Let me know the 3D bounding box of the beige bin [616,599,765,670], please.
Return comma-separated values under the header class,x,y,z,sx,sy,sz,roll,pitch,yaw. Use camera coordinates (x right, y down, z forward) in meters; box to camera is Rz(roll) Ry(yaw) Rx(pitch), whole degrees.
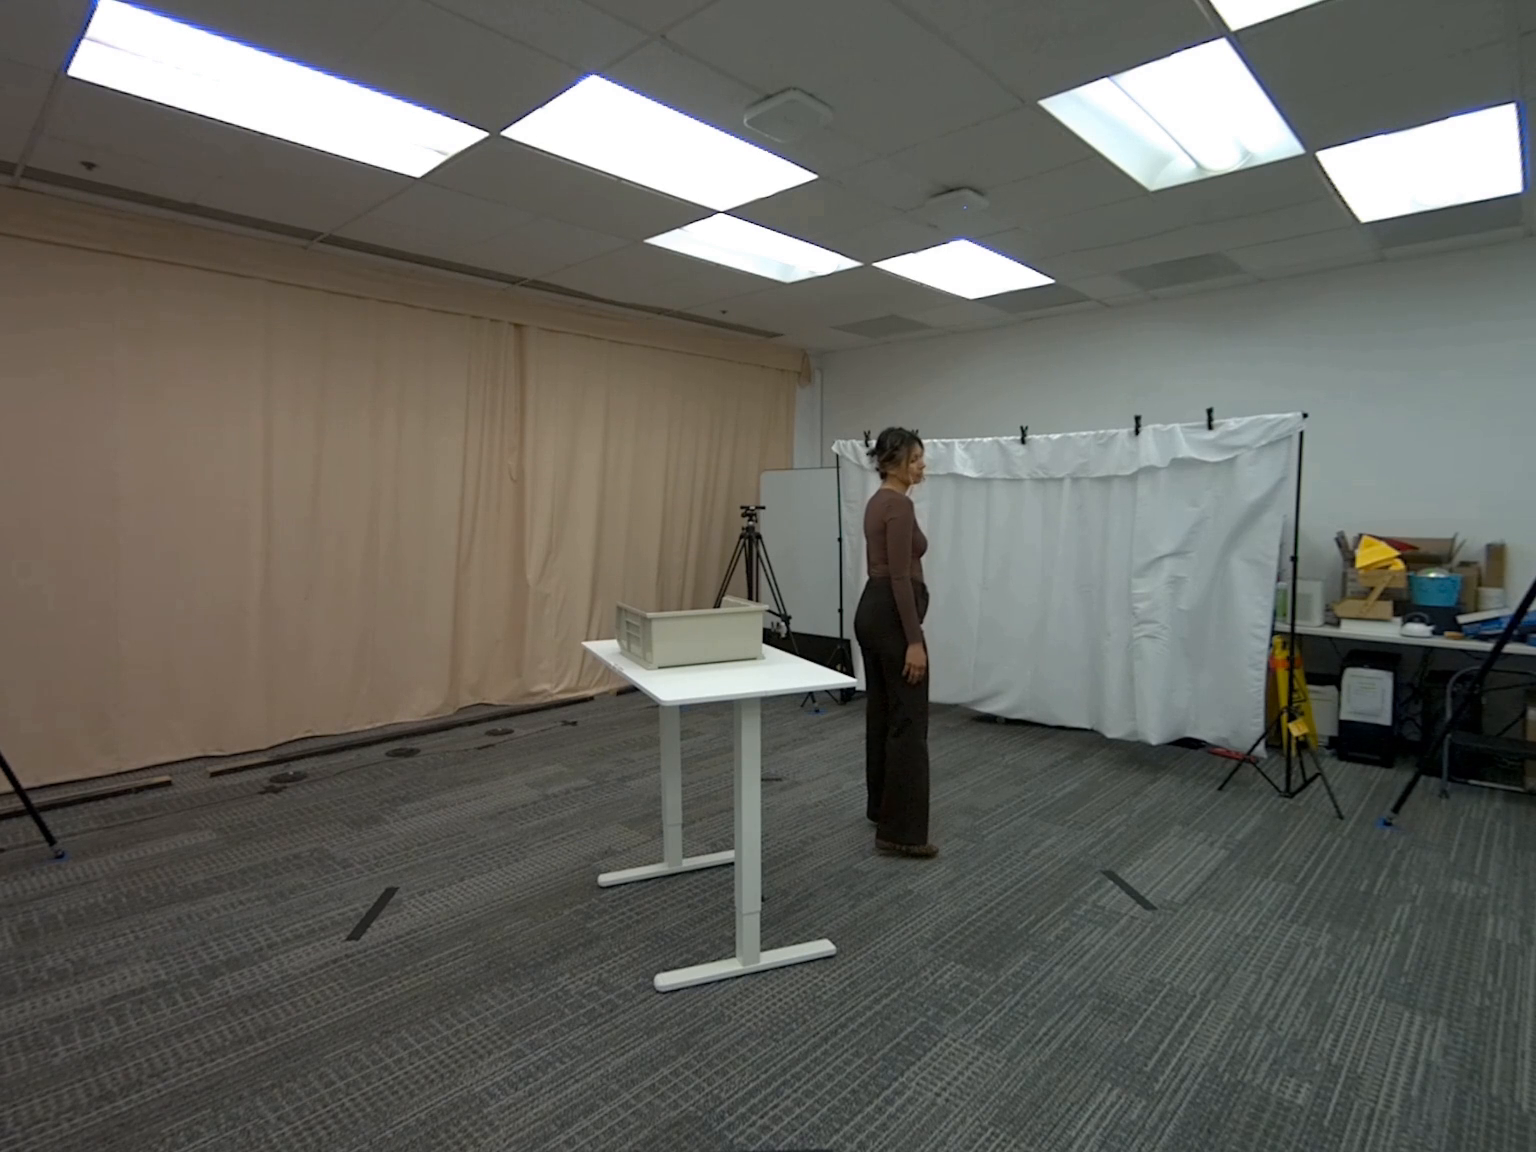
class,x,y,z,sx,sy,sz,roll,pitch,yaw
beige bin,-0.270,0.184,2.862,0.412,0.188,0.387,-2,6,-25
